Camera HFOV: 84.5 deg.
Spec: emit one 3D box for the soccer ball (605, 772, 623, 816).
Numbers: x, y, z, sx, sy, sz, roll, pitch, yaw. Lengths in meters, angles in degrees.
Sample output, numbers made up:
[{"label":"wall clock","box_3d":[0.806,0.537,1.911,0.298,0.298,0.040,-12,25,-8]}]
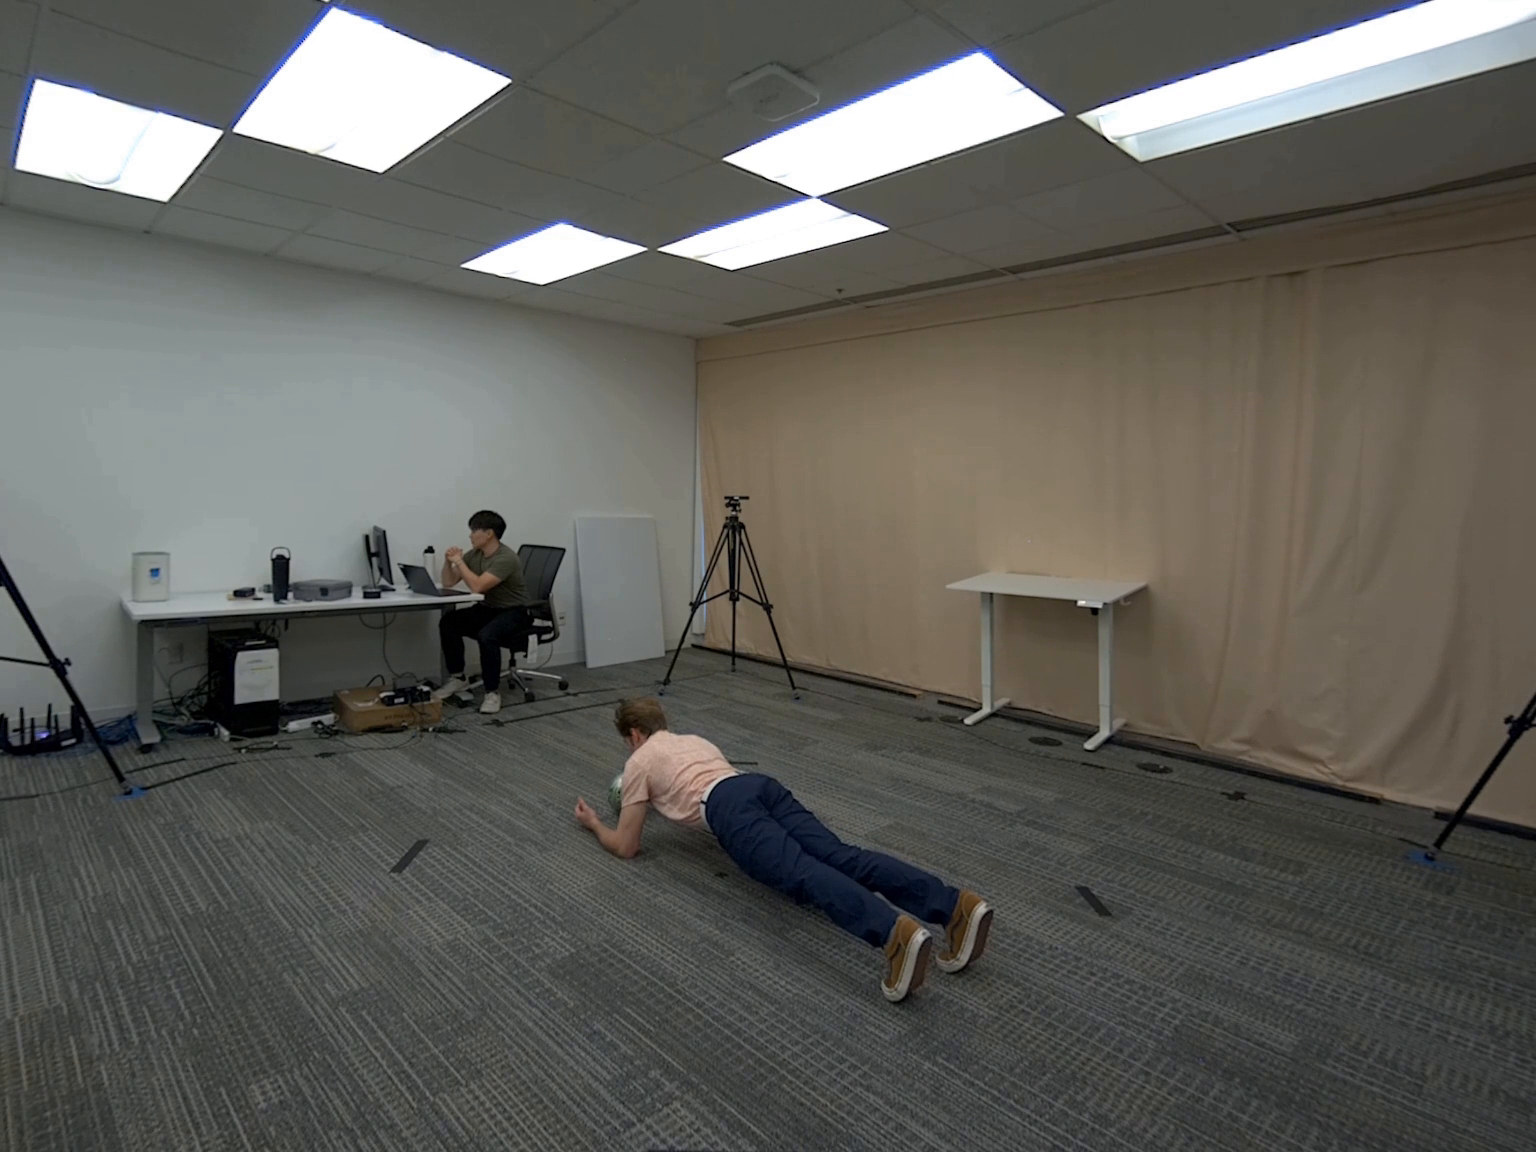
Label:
[{"label":"soccer ball","box_3d":[-0.611,0.945,3.684,0.187,0.187,0.188,1,4,-1]}]
